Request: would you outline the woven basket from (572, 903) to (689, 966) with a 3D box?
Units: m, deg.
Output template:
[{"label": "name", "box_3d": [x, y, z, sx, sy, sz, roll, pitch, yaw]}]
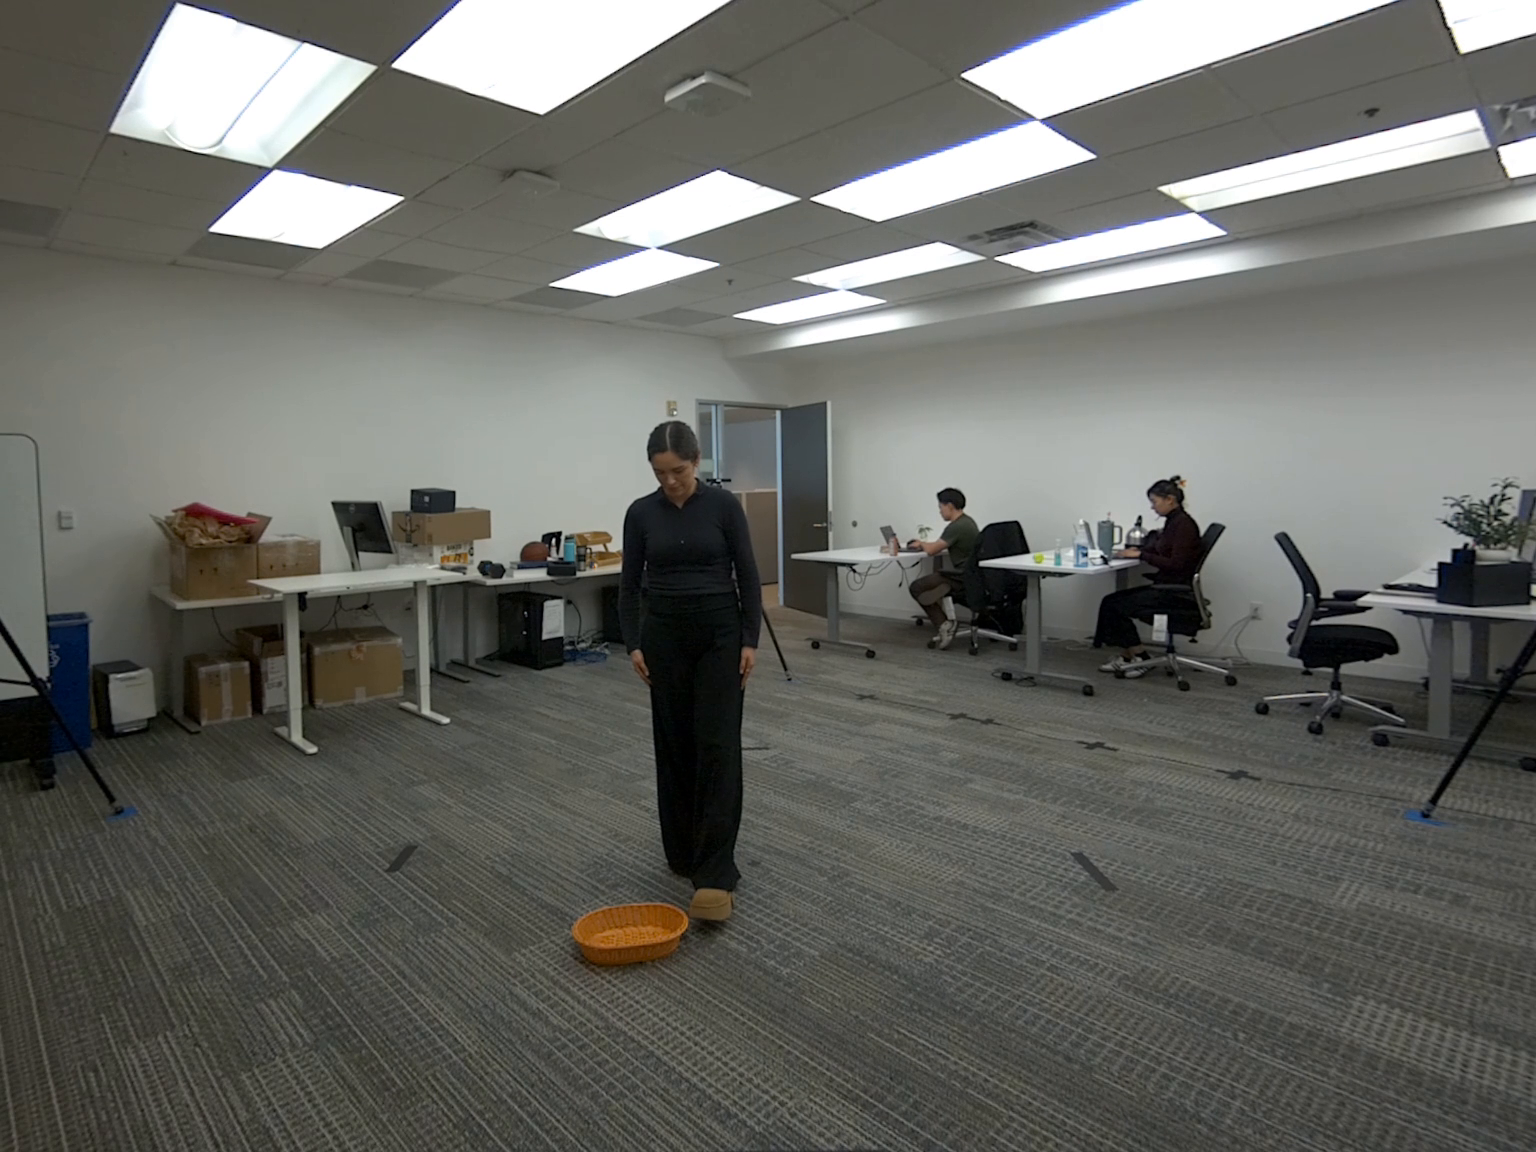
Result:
[{"label": "woven basket", "box_3d": [-0.408, 1.079, 2.561, 0.347, 0.073, 0.255, -2, 5, -9]}]
